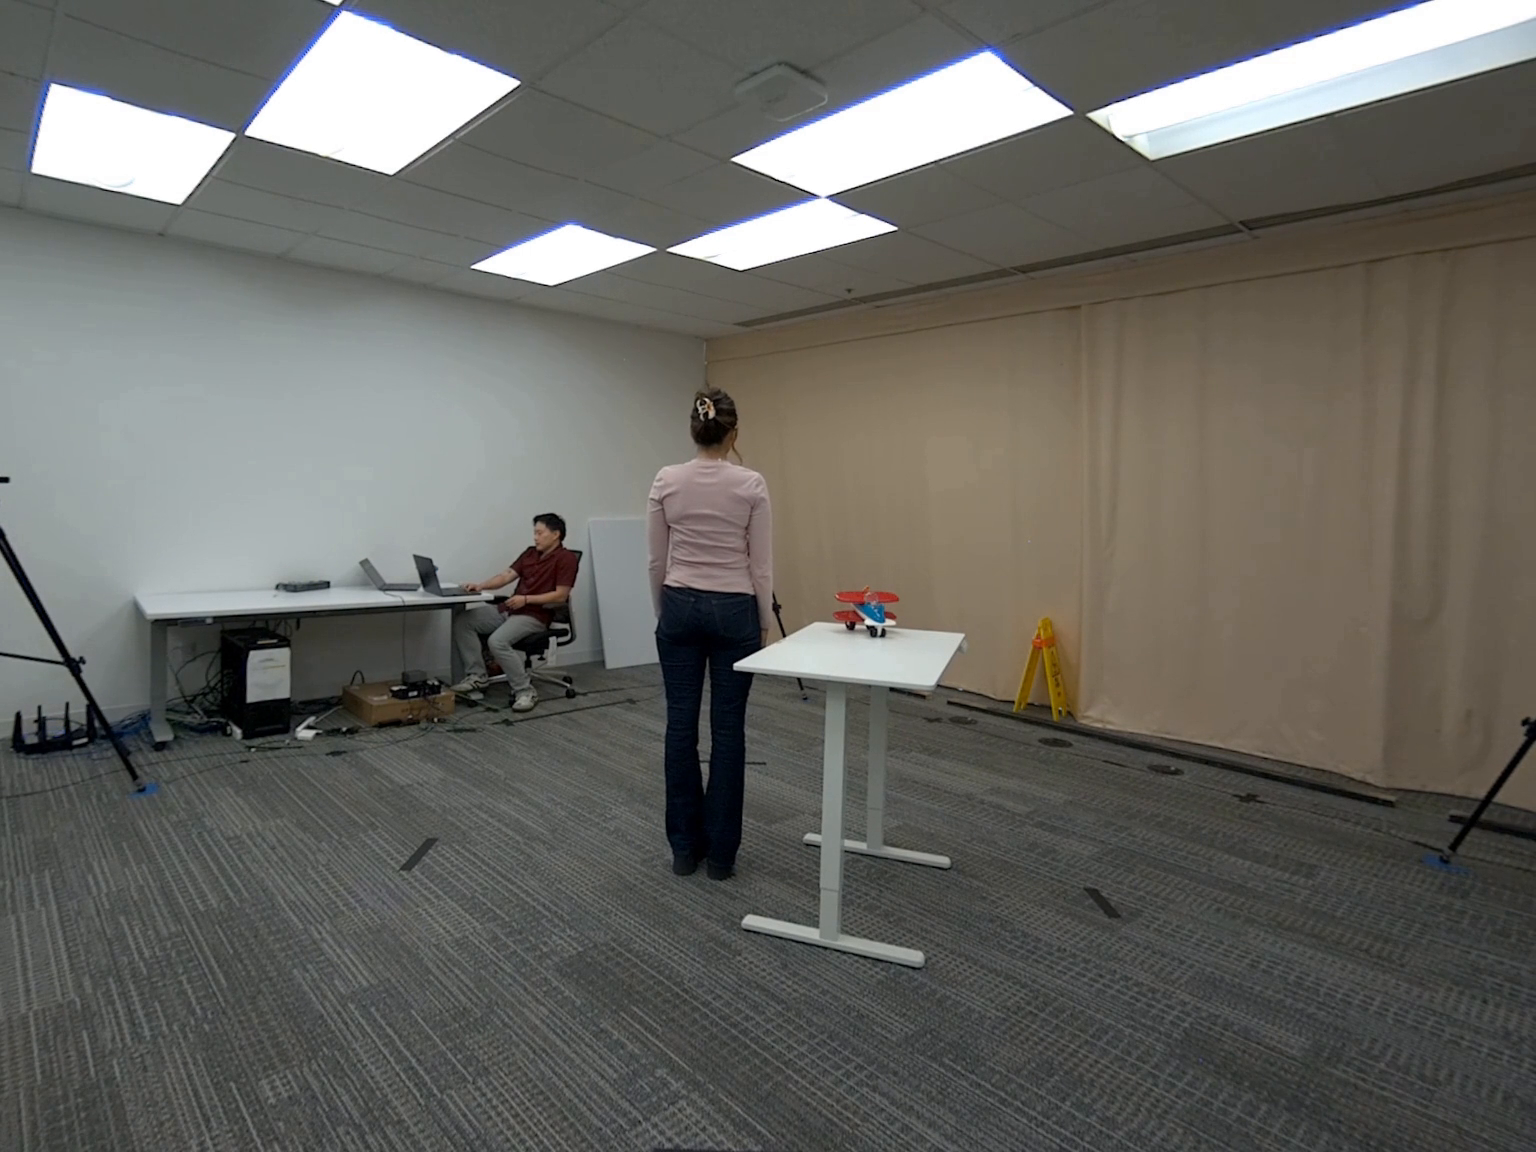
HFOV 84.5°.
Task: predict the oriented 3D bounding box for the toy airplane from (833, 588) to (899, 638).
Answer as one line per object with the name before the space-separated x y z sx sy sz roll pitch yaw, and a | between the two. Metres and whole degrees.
toy airplane | 0.400 0.142 3.250 0.245 0.156 0.265 -1 2 -41
